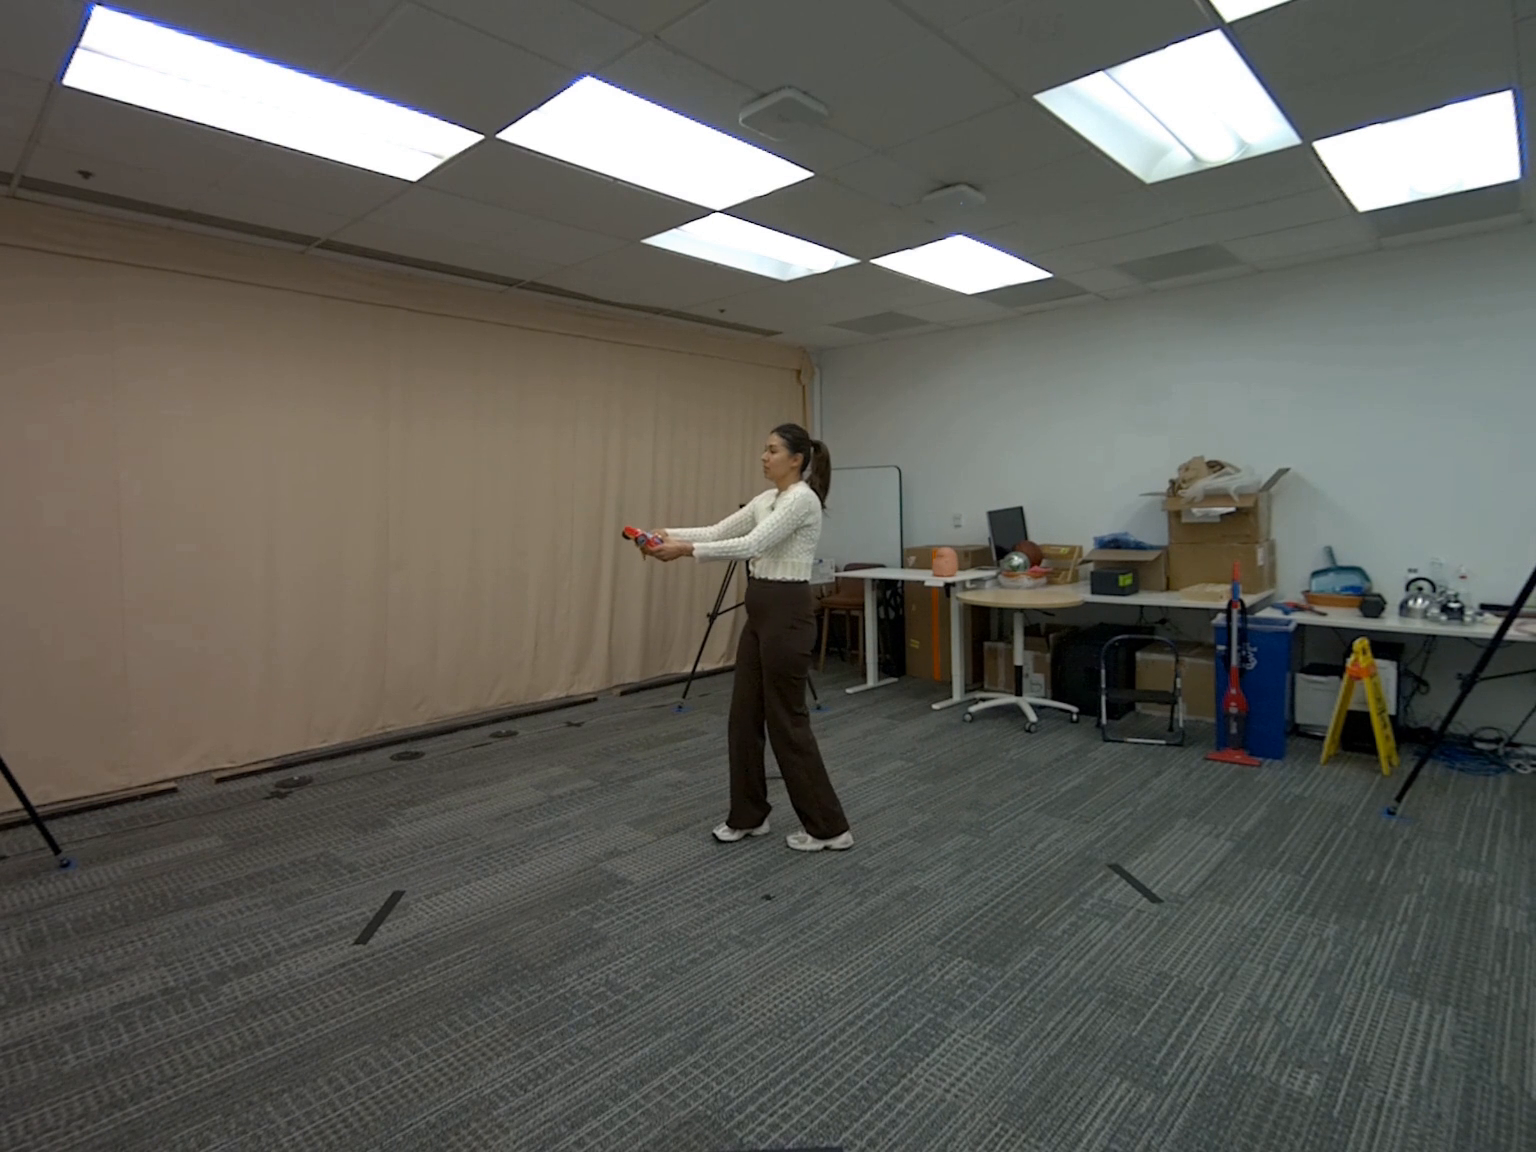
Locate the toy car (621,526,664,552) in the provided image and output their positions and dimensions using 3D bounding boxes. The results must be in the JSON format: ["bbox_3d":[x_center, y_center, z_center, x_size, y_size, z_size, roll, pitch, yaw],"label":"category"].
[{"bbox_3d":[-0.463,-0.119,3.353,0.245,0.083,0.135,23,0,-44],"label":"toy car"}]
